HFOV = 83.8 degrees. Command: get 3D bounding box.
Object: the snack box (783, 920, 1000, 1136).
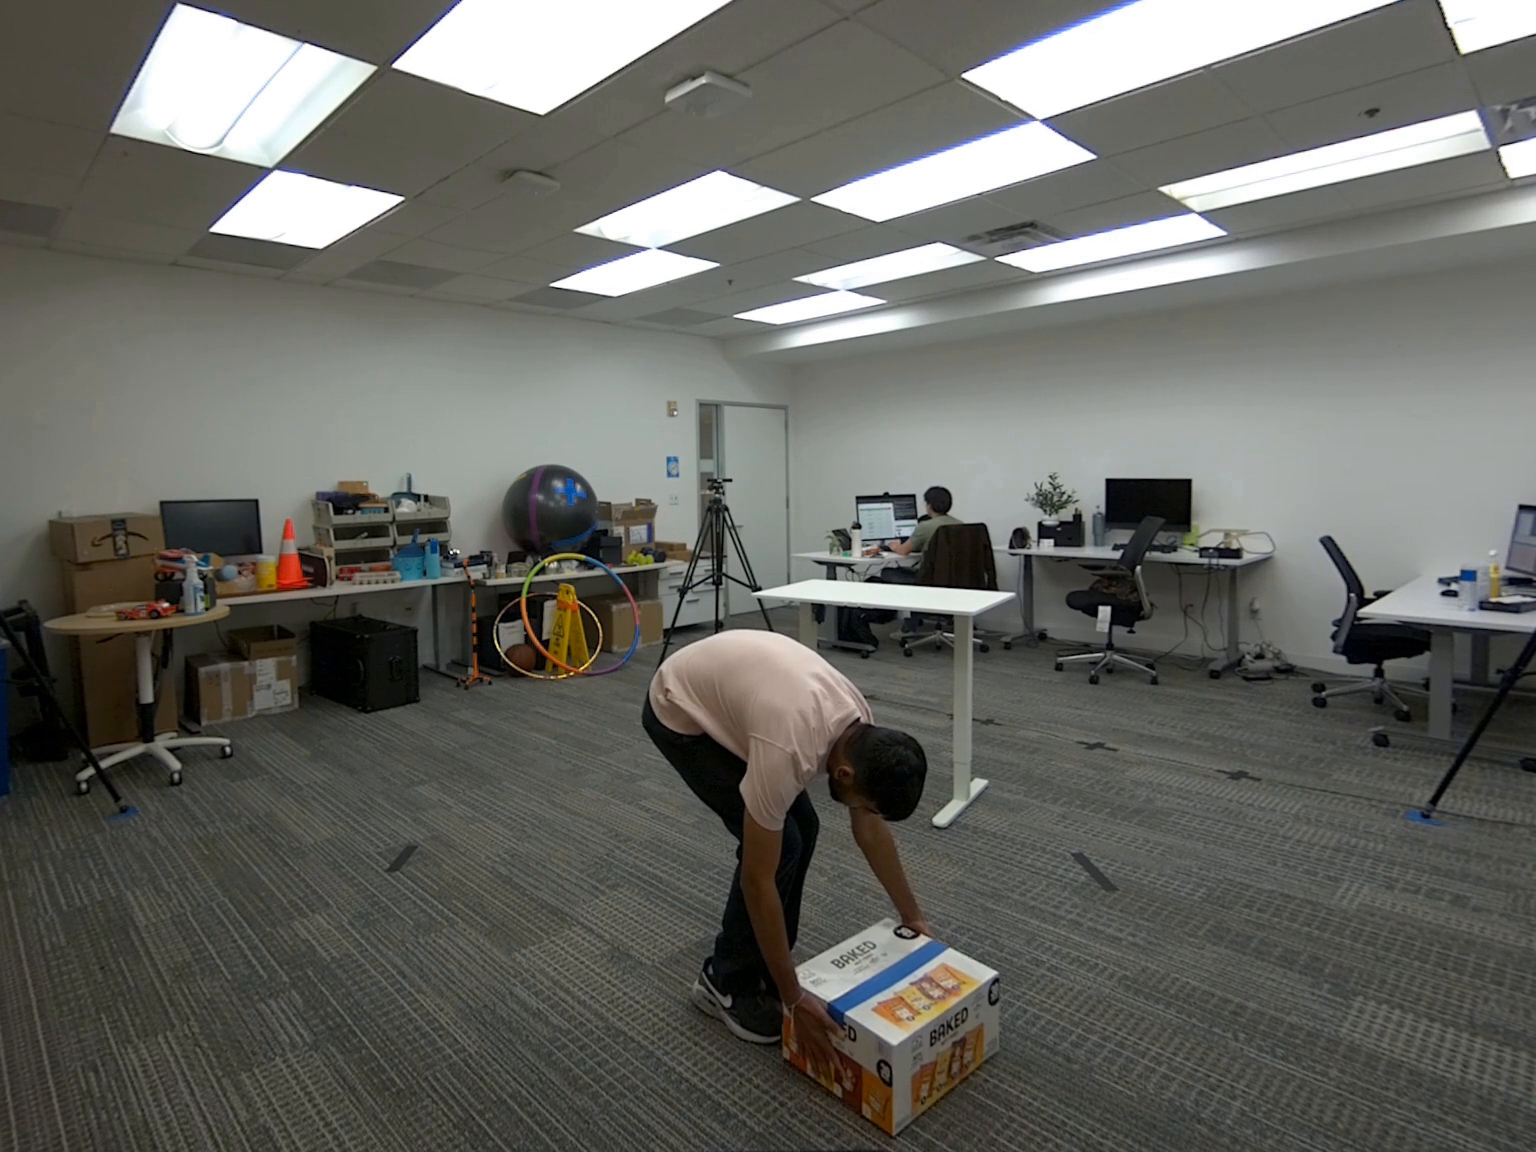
[{"bbox_3d":[0.300,1.046,2.053,0.395,0.205,0.351,-7,8,-41],"label":"snack box"}]
